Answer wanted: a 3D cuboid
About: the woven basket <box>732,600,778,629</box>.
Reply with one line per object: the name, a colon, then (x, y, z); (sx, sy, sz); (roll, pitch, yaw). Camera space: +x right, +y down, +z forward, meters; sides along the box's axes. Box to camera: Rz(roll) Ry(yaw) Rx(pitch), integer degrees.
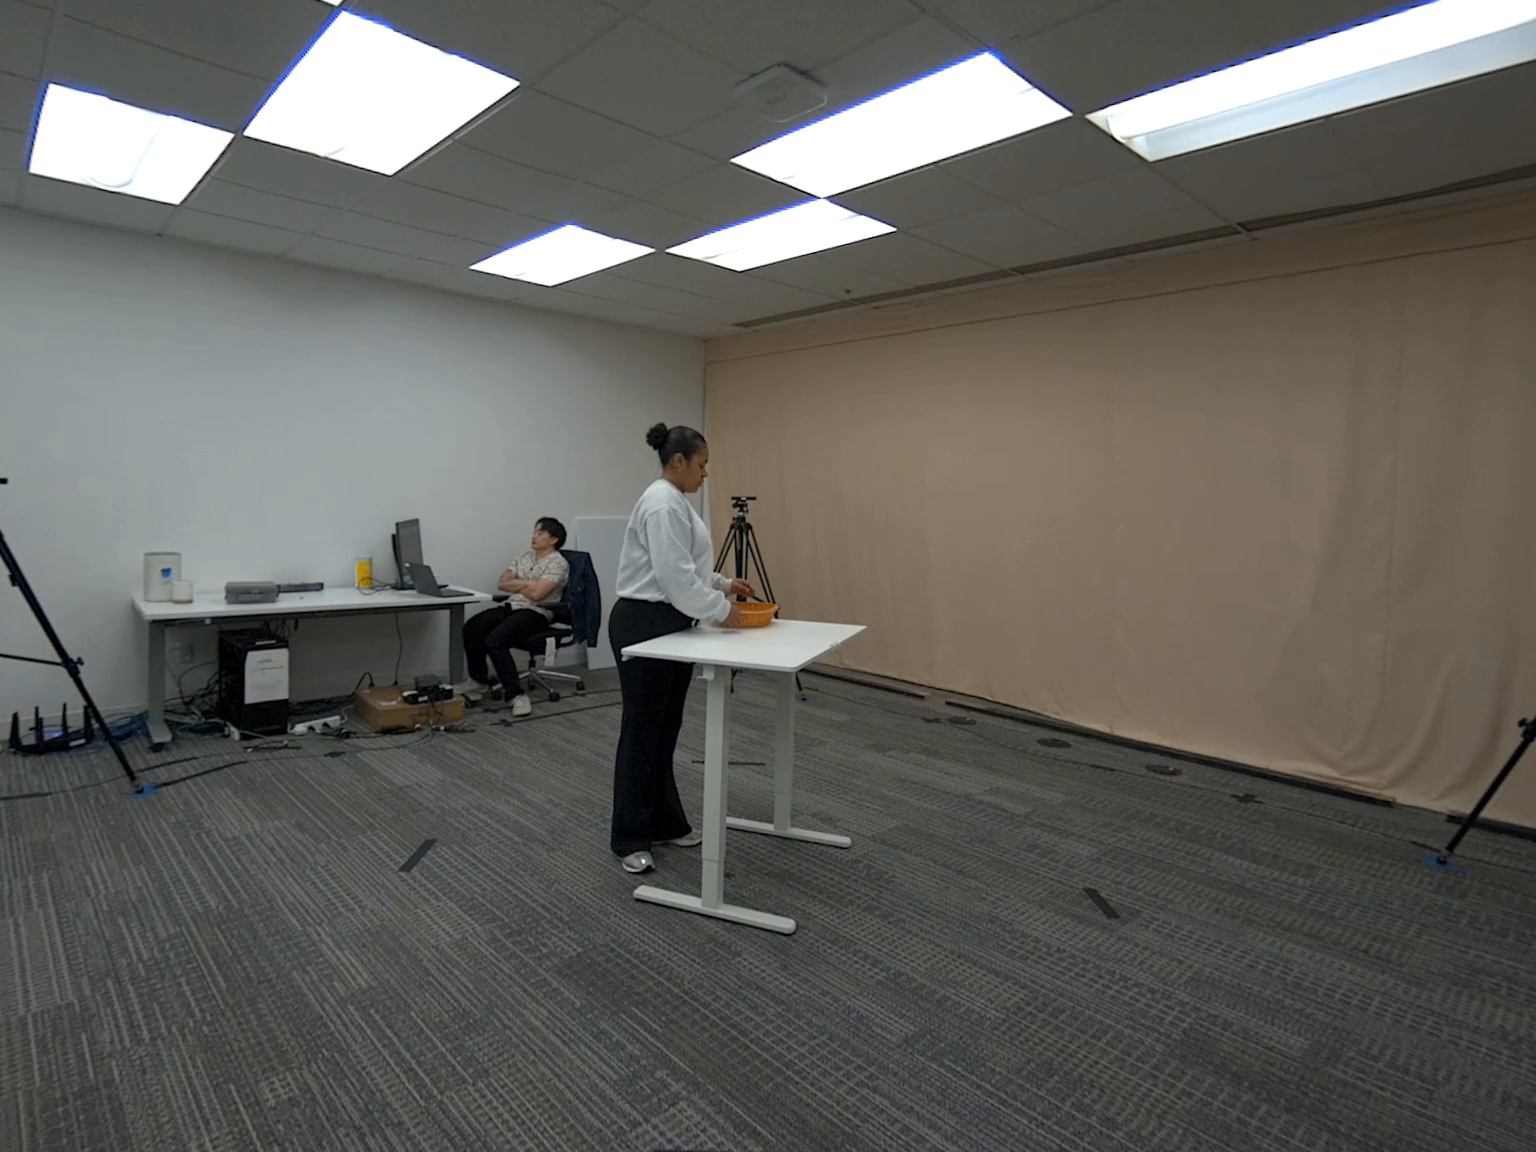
woven basket: (-0.117, 0.163, 3.448); (0.256, 0.073, 0.345); (3, 4, 19)
